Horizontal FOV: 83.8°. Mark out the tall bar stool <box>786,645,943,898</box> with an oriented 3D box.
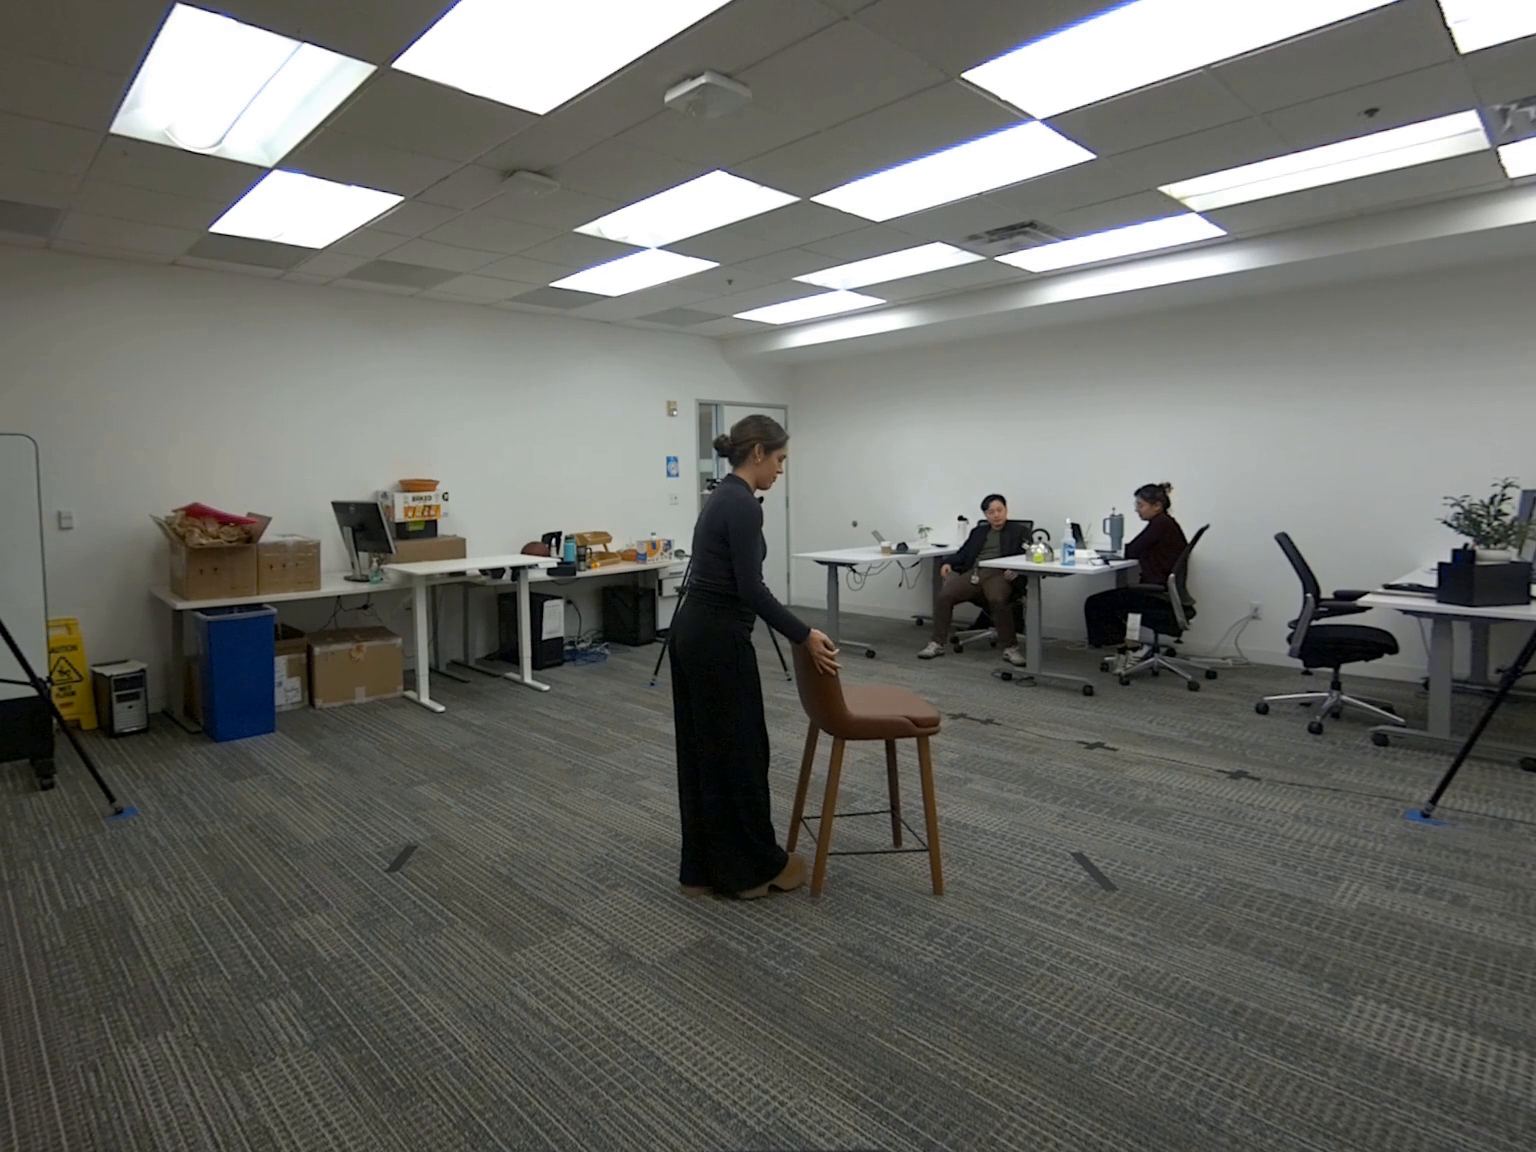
[{"bbox_3d":[0.326,0.601,2.981,0.463,0.887,0.463,-1,4,-11],"label":"tall bar stool"}]
